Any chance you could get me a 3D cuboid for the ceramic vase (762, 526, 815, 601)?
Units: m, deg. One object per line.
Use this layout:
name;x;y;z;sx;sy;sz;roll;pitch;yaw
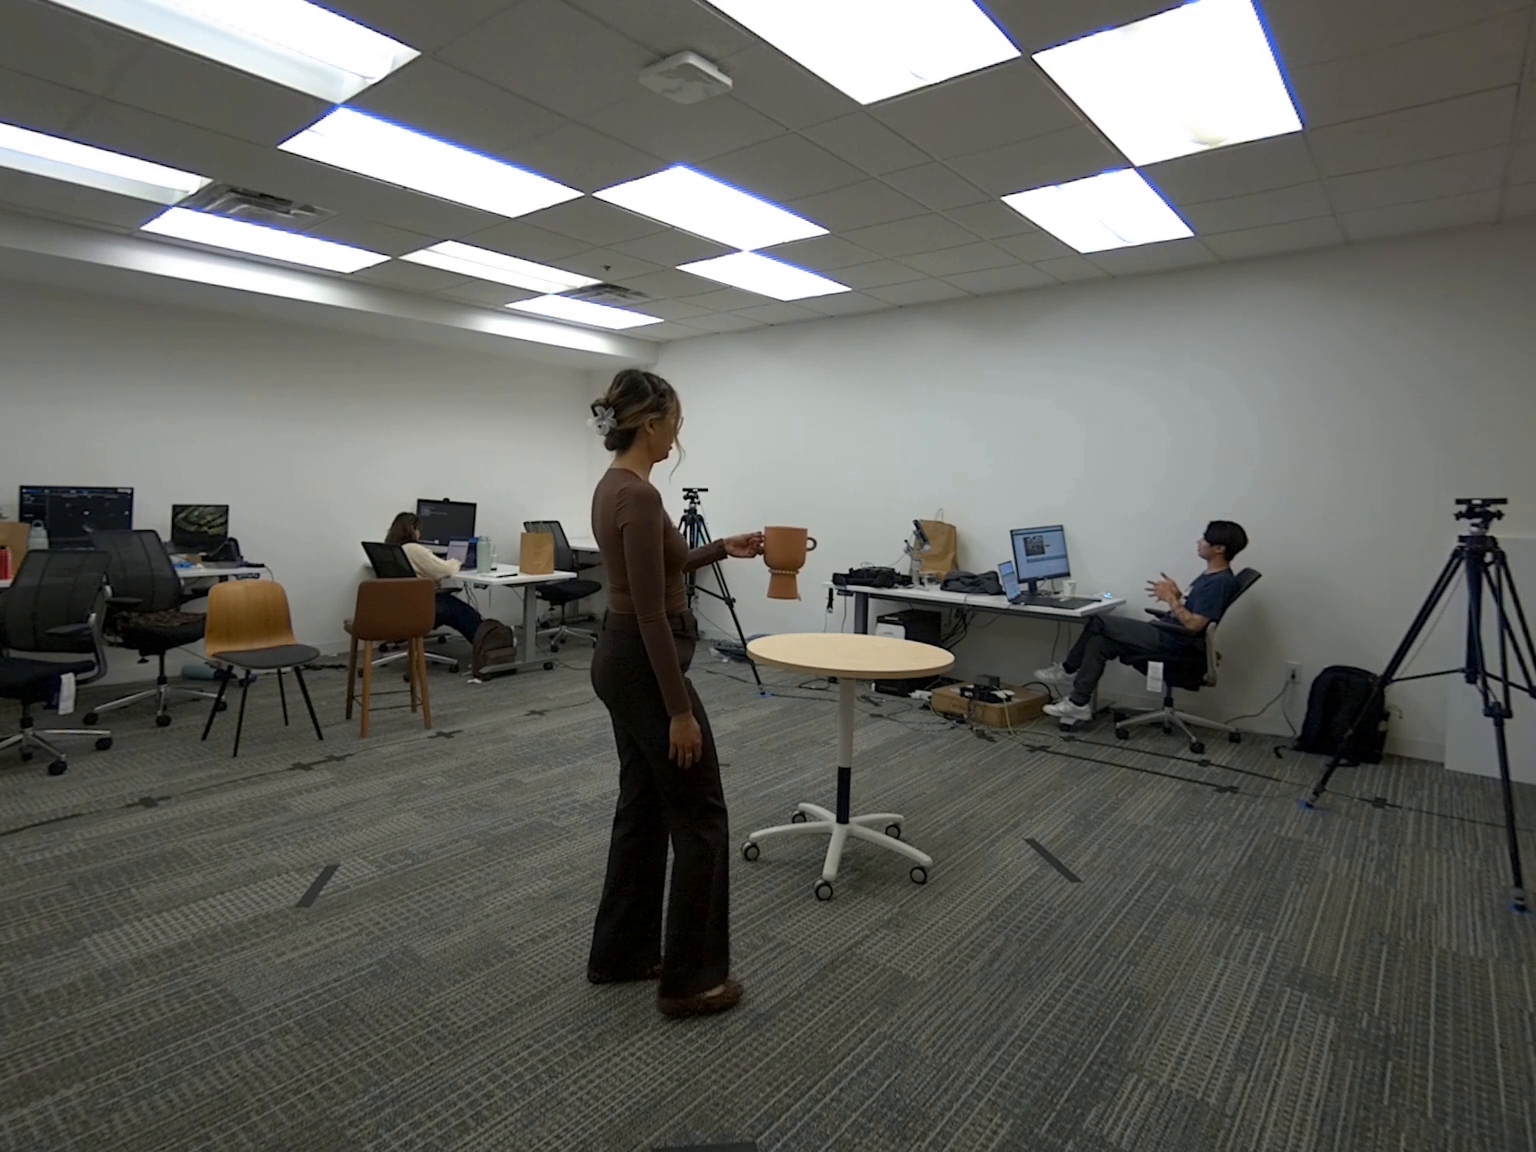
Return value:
ceramic vase;0.043;-0.039;2.625;0.164;0.220;0.130;4;1;34
